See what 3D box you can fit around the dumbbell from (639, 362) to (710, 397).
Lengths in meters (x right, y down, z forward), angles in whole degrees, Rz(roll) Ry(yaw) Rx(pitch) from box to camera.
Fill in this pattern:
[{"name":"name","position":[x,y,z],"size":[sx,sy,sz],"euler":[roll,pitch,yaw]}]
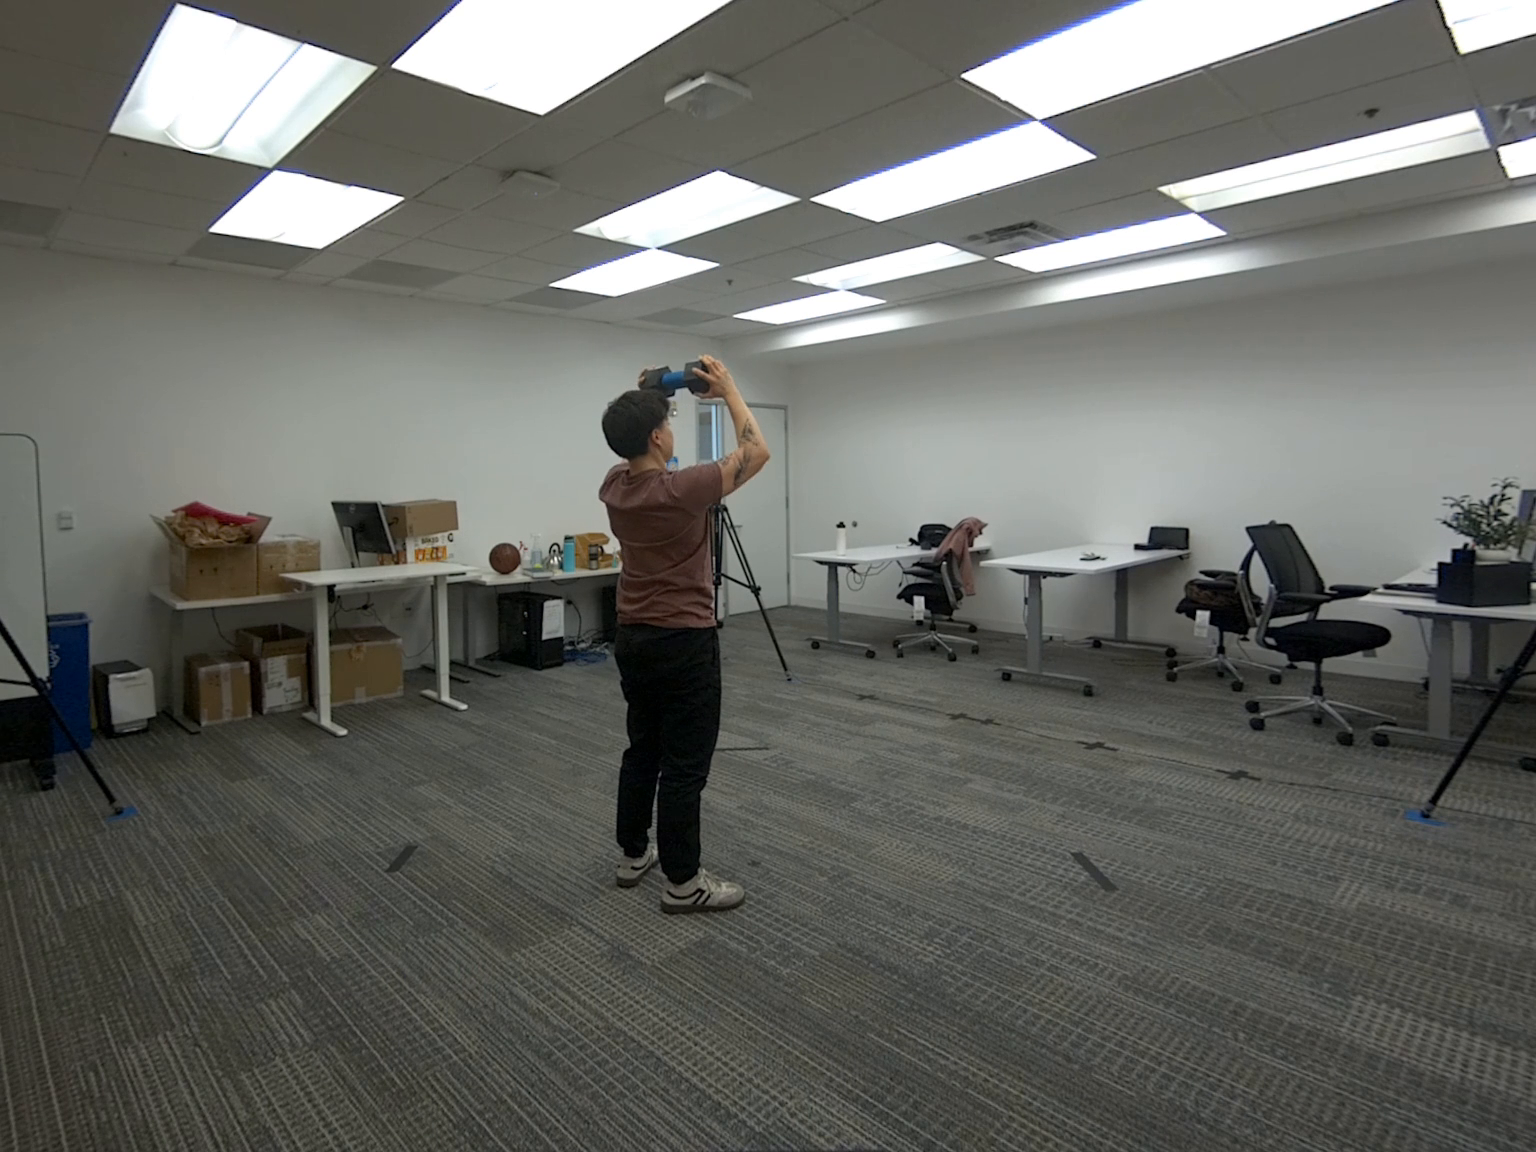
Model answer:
[{"name":"dumbbell","position":[-0.298,-0.664,2.893],"size":[0.302,0.109,0.118],"euler":[4,-37,43]}]
